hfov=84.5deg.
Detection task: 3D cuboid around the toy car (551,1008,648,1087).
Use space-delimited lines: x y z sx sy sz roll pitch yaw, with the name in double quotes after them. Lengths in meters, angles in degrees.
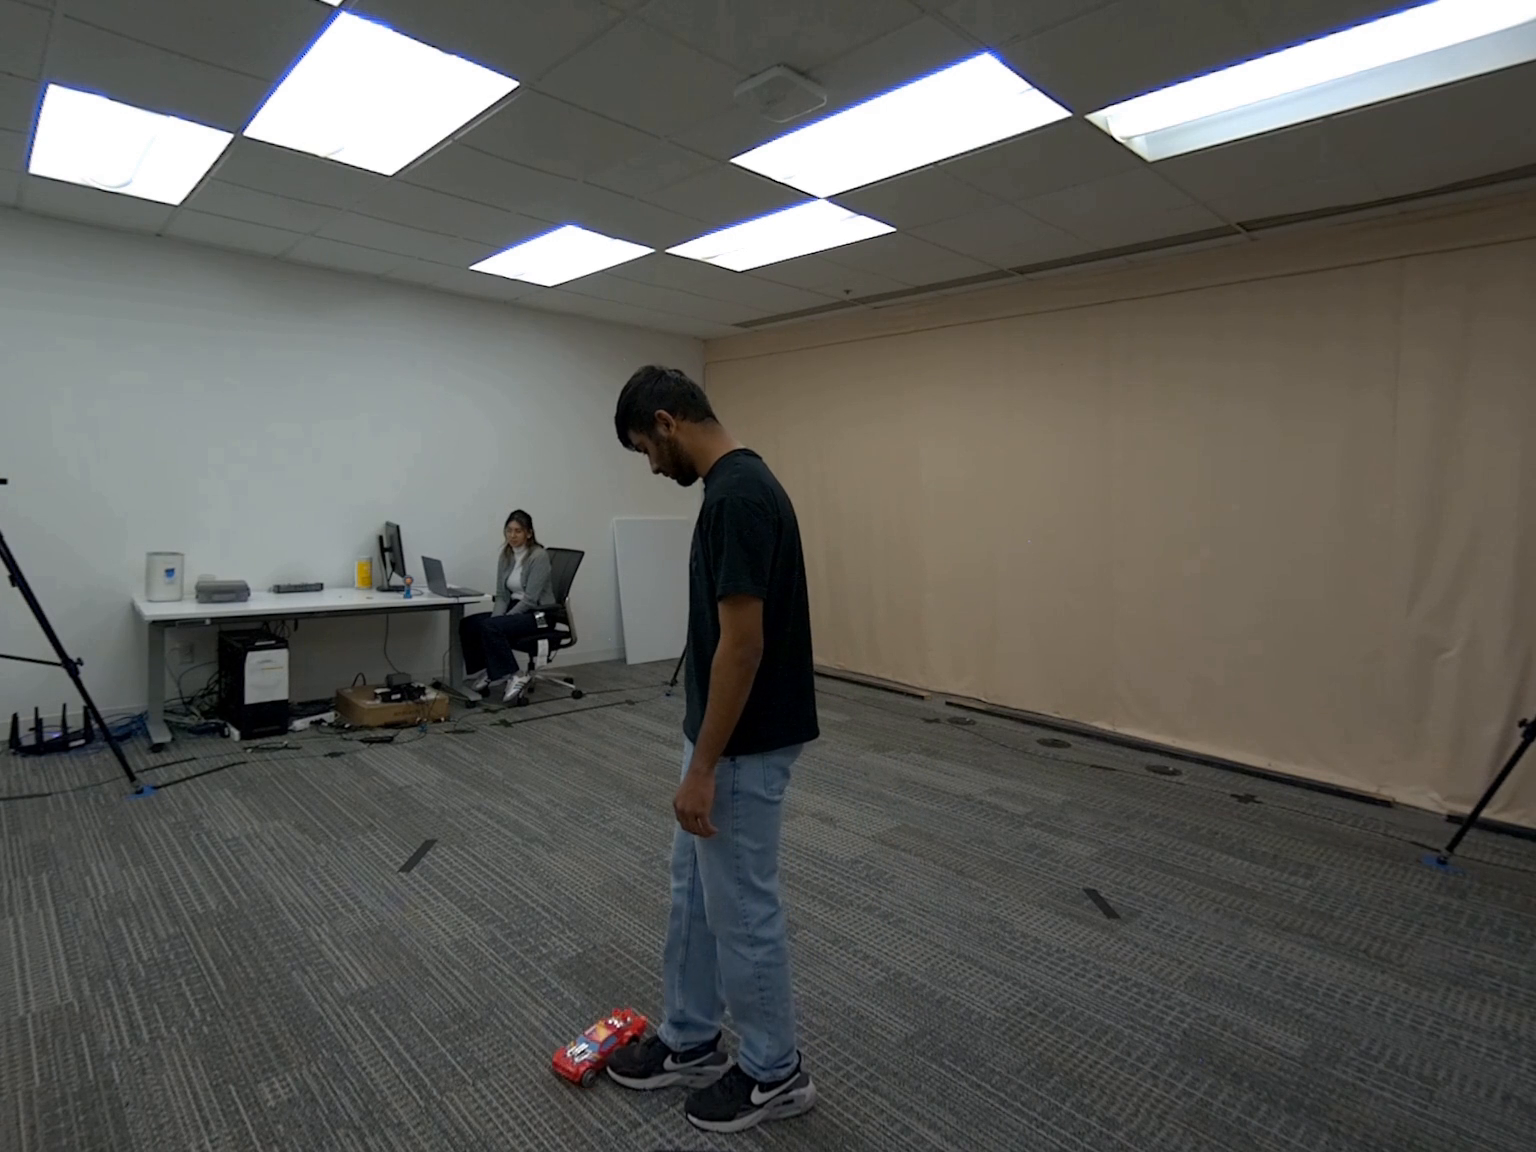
-0.417 1.165 2.076 0.133 0.082 0.251 1 15 38 "toy car"
